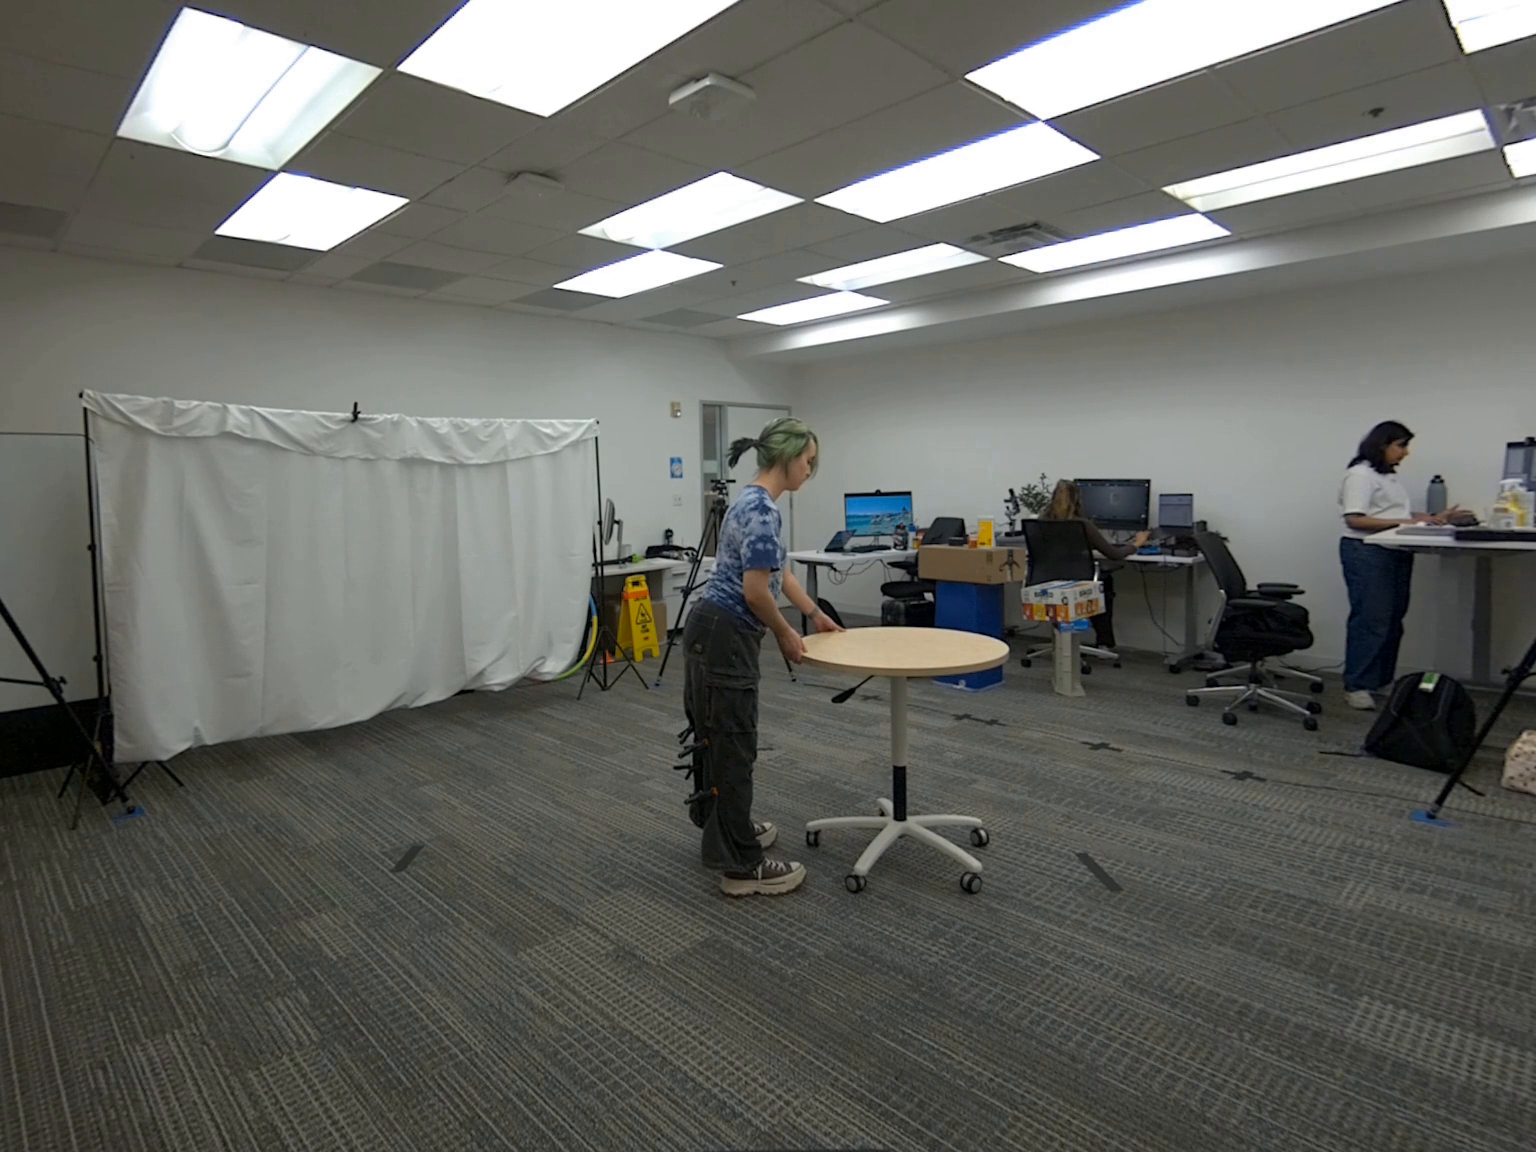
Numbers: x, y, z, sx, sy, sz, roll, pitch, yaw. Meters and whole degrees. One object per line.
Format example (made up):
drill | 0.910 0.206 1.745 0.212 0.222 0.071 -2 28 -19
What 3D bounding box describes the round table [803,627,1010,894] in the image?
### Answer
round table | 0.483 0.645 3.121 0.763 0.791 0.768 -1 5 -2
